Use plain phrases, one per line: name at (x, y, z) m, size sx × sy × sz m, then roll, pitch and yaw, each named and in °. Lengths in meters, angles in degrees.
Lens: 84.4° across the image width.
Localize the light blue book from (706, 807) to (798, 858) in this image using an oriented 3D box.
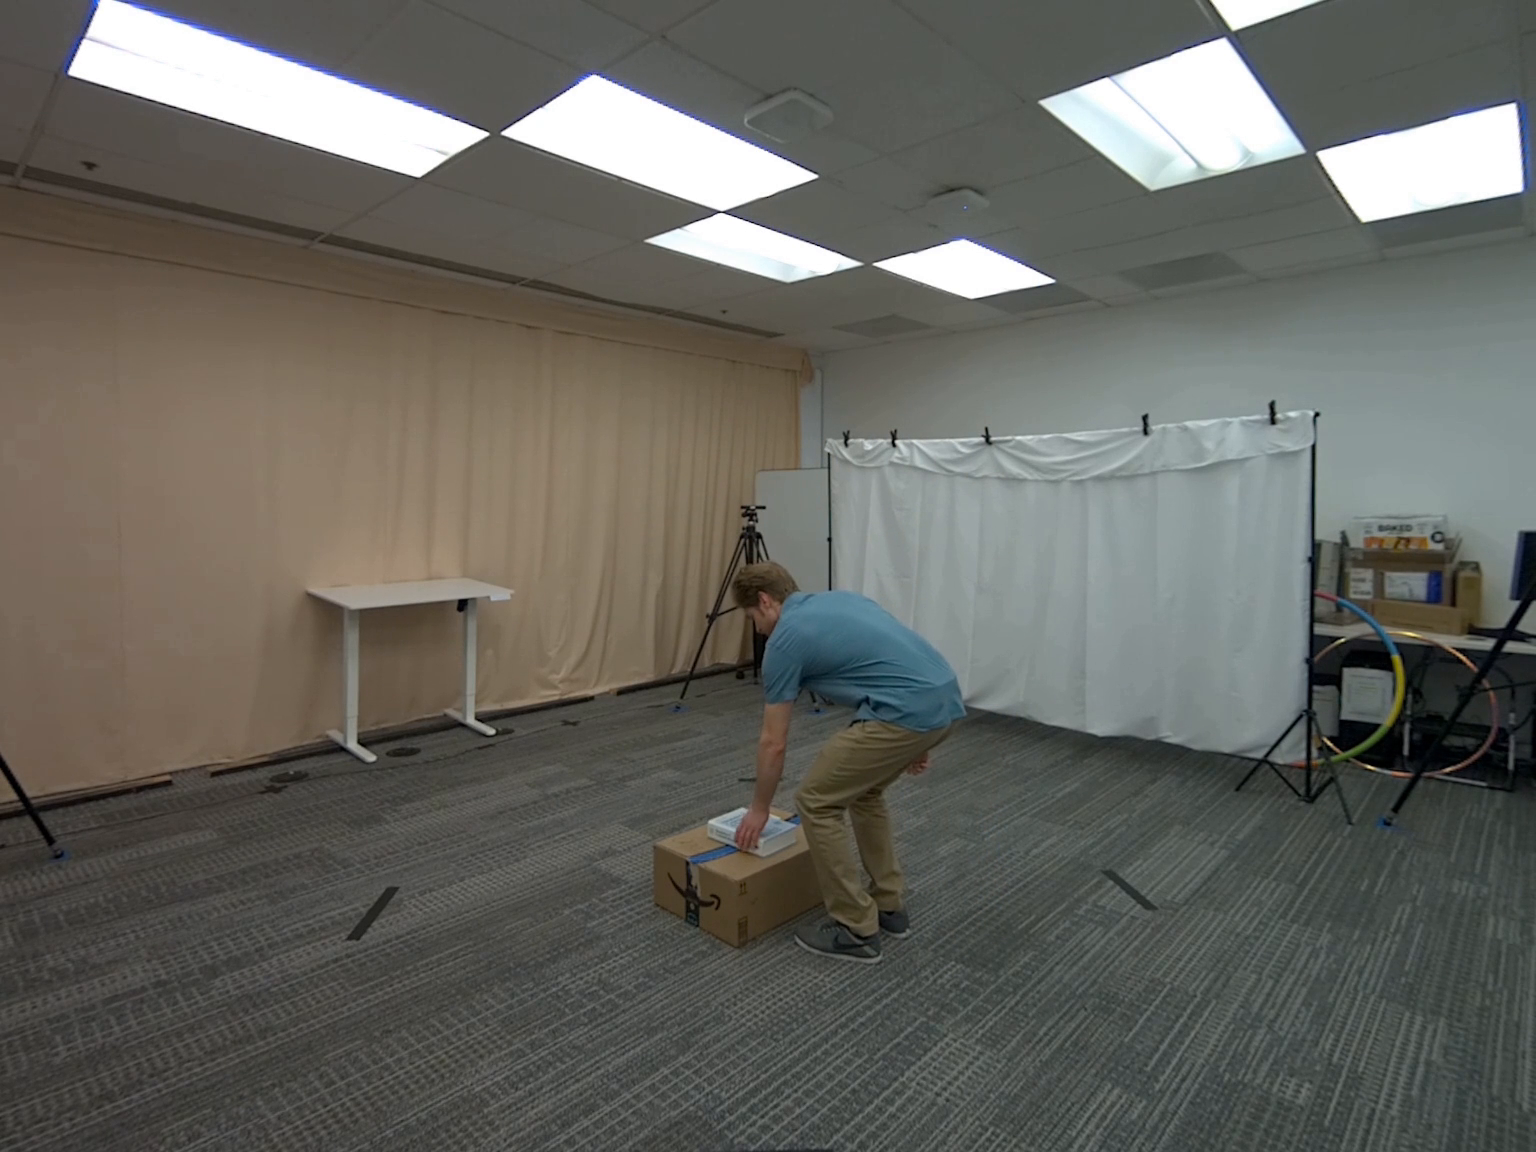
light blue book at (-0.054, 0.903, 2.988) m, size 0.270 × 0.059 × 0.186 m, roll 5°, pitch 8°, yaw 42°
